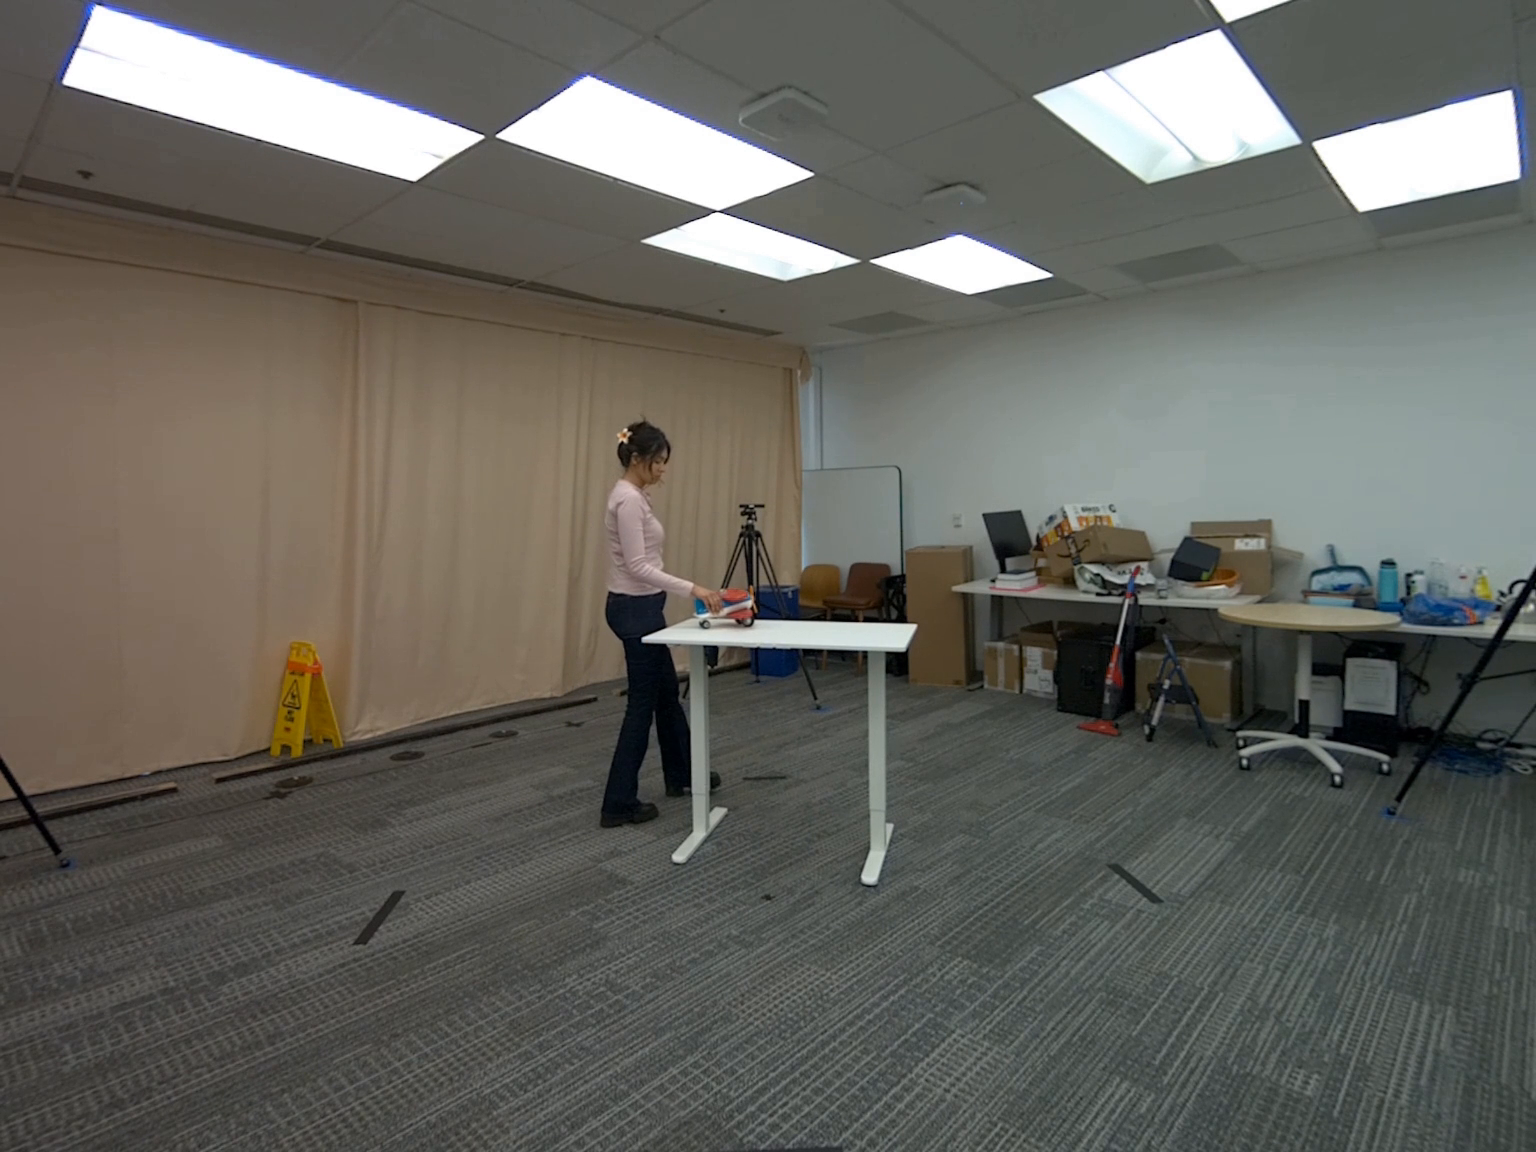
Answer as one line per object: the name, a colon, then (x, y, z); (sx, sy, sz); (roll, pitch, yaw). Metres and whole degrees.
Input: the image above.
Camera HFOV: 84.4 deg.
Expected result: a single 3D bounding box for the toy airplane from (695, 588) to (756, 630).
toy airplane: (-0.164, 0.138, 3.529); (0.251, 0.156, 0.259); (-4, 4, -45)
